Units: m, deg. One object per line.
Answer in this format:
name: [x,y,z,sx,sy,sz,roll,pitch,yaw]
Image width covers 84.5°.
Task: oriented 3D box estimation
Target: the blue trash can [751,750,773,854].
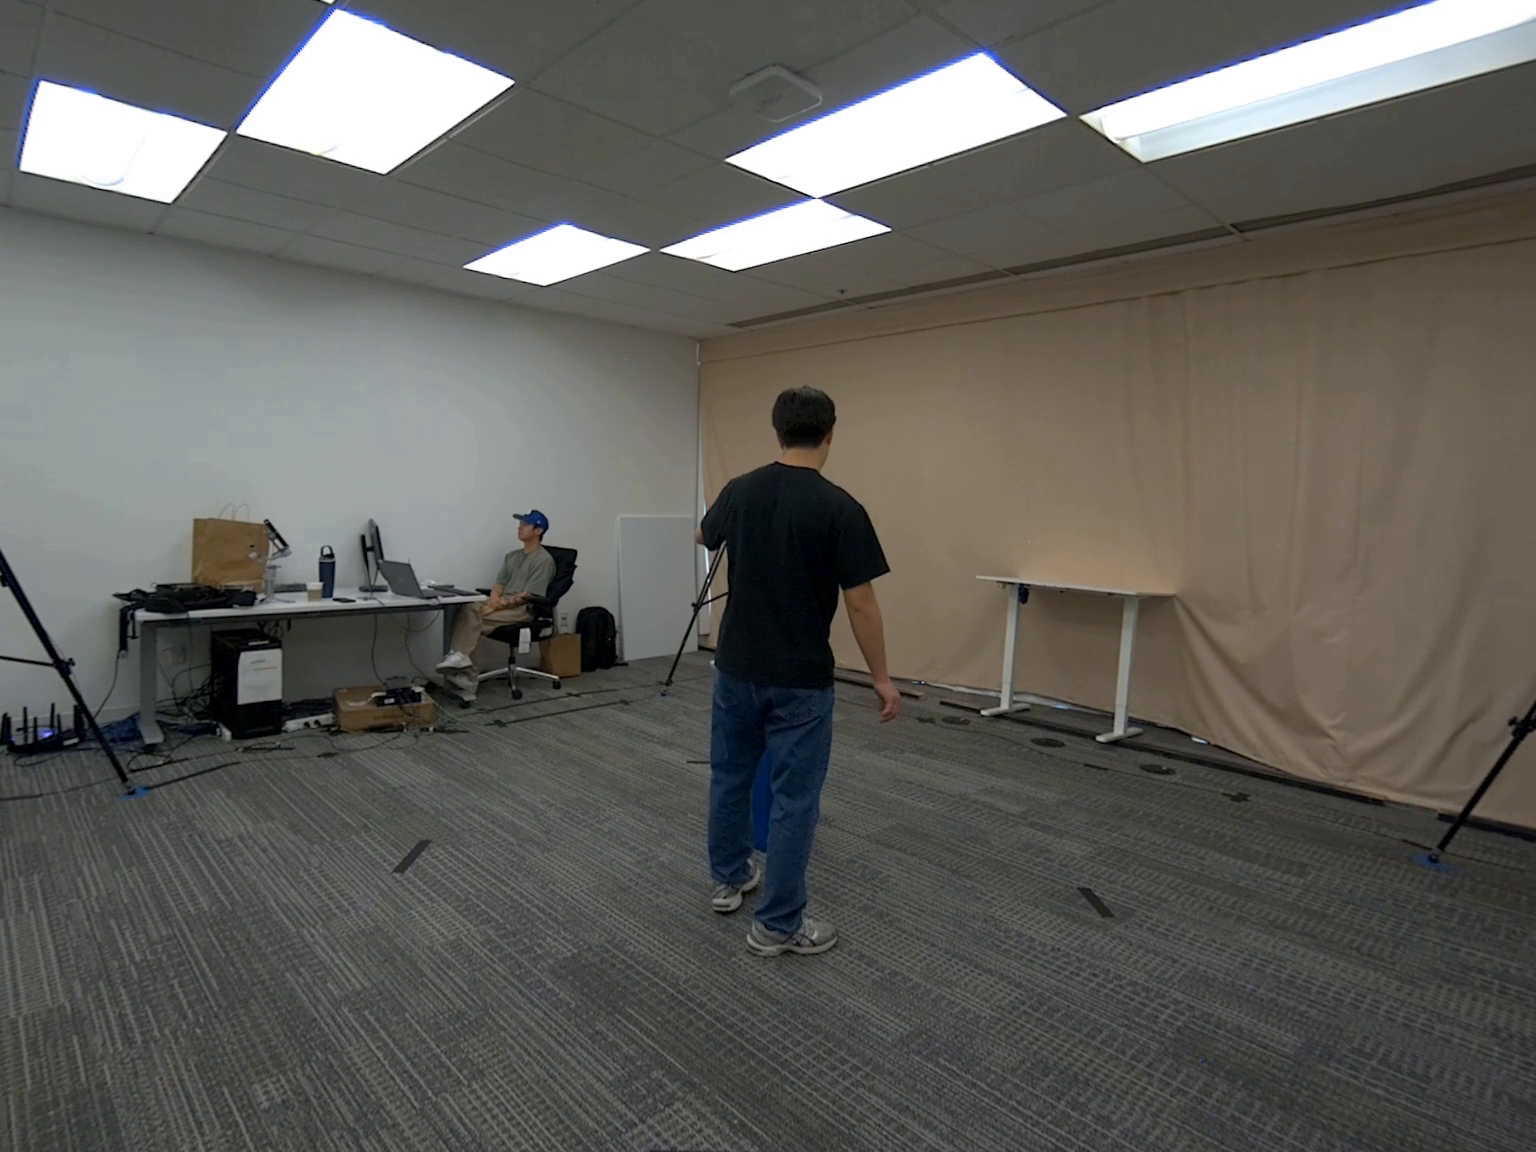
blue trash can: [-0.004,0.722,3.508,0.388,0.712,0.365,5,4,42]
